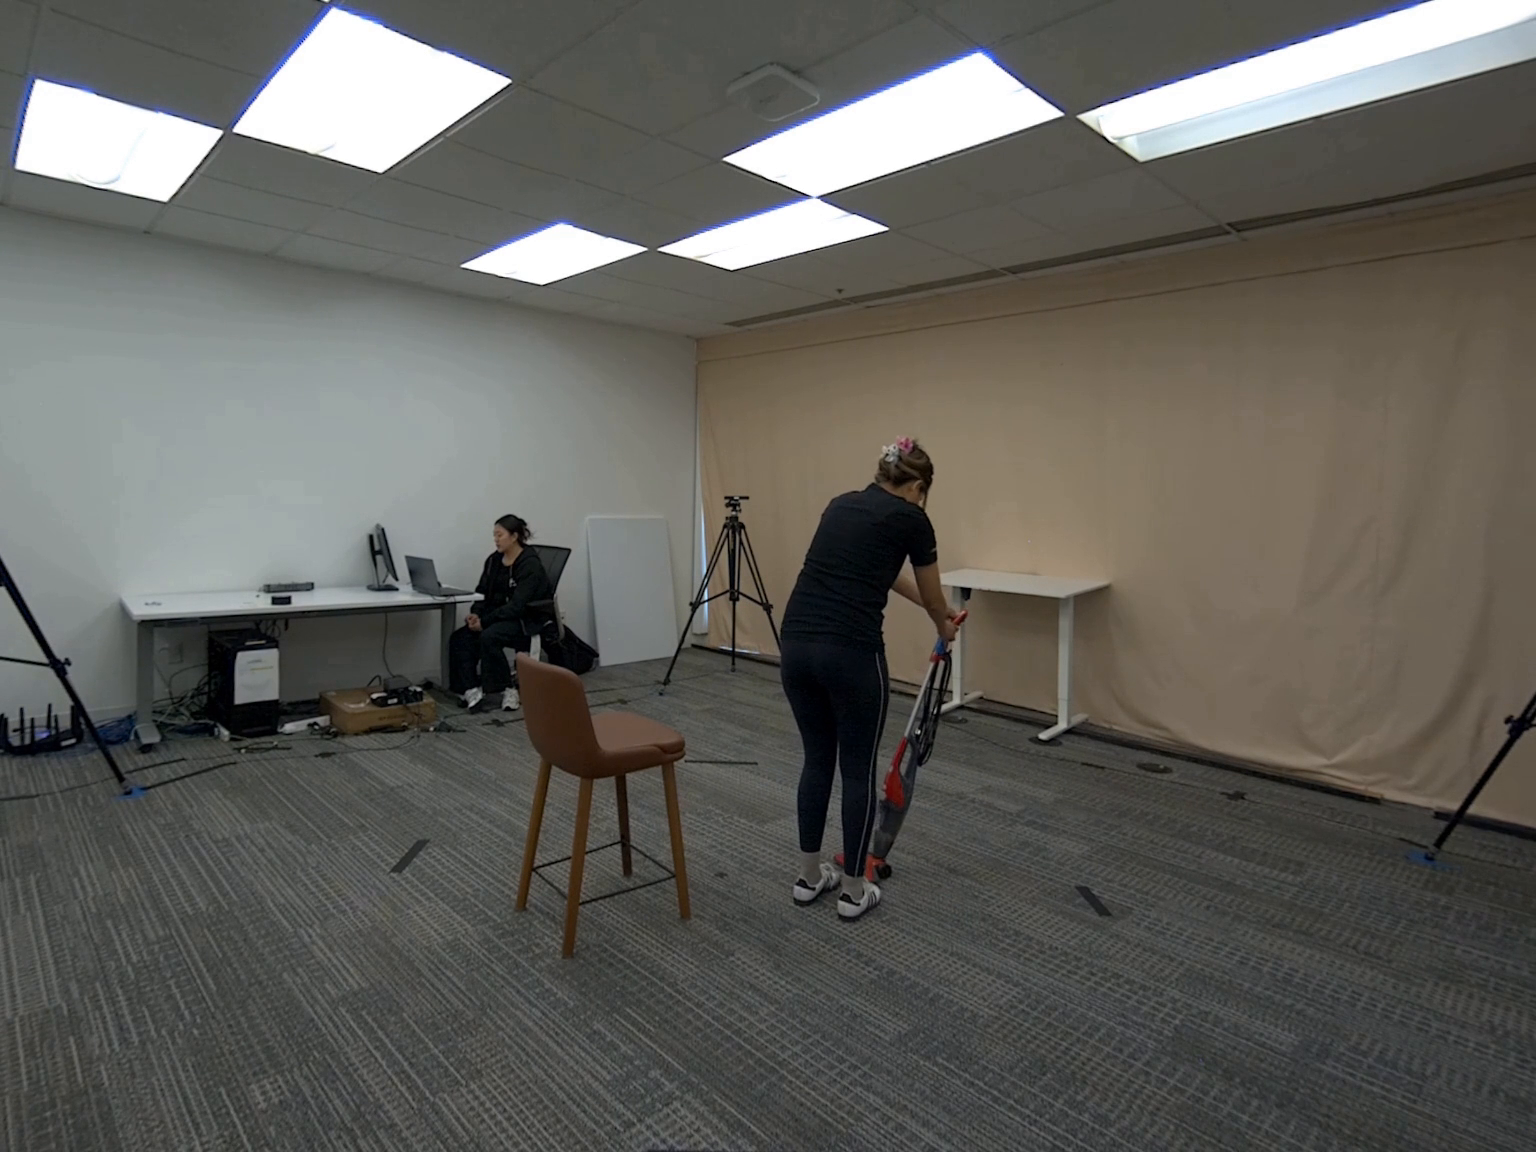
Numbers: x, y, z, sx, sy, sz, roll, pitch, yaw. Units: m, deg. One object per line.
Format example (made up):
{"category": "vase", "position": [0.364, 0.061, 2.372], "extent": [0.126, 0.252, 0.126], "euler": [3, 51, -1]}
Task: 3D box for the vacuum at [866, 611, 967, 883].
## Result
{"category": "vacuum", "position": [0.566, 0.624, 3.199], "extent": [0.140, 1.051, 0.258], "euler": [26, -6, -27]}
